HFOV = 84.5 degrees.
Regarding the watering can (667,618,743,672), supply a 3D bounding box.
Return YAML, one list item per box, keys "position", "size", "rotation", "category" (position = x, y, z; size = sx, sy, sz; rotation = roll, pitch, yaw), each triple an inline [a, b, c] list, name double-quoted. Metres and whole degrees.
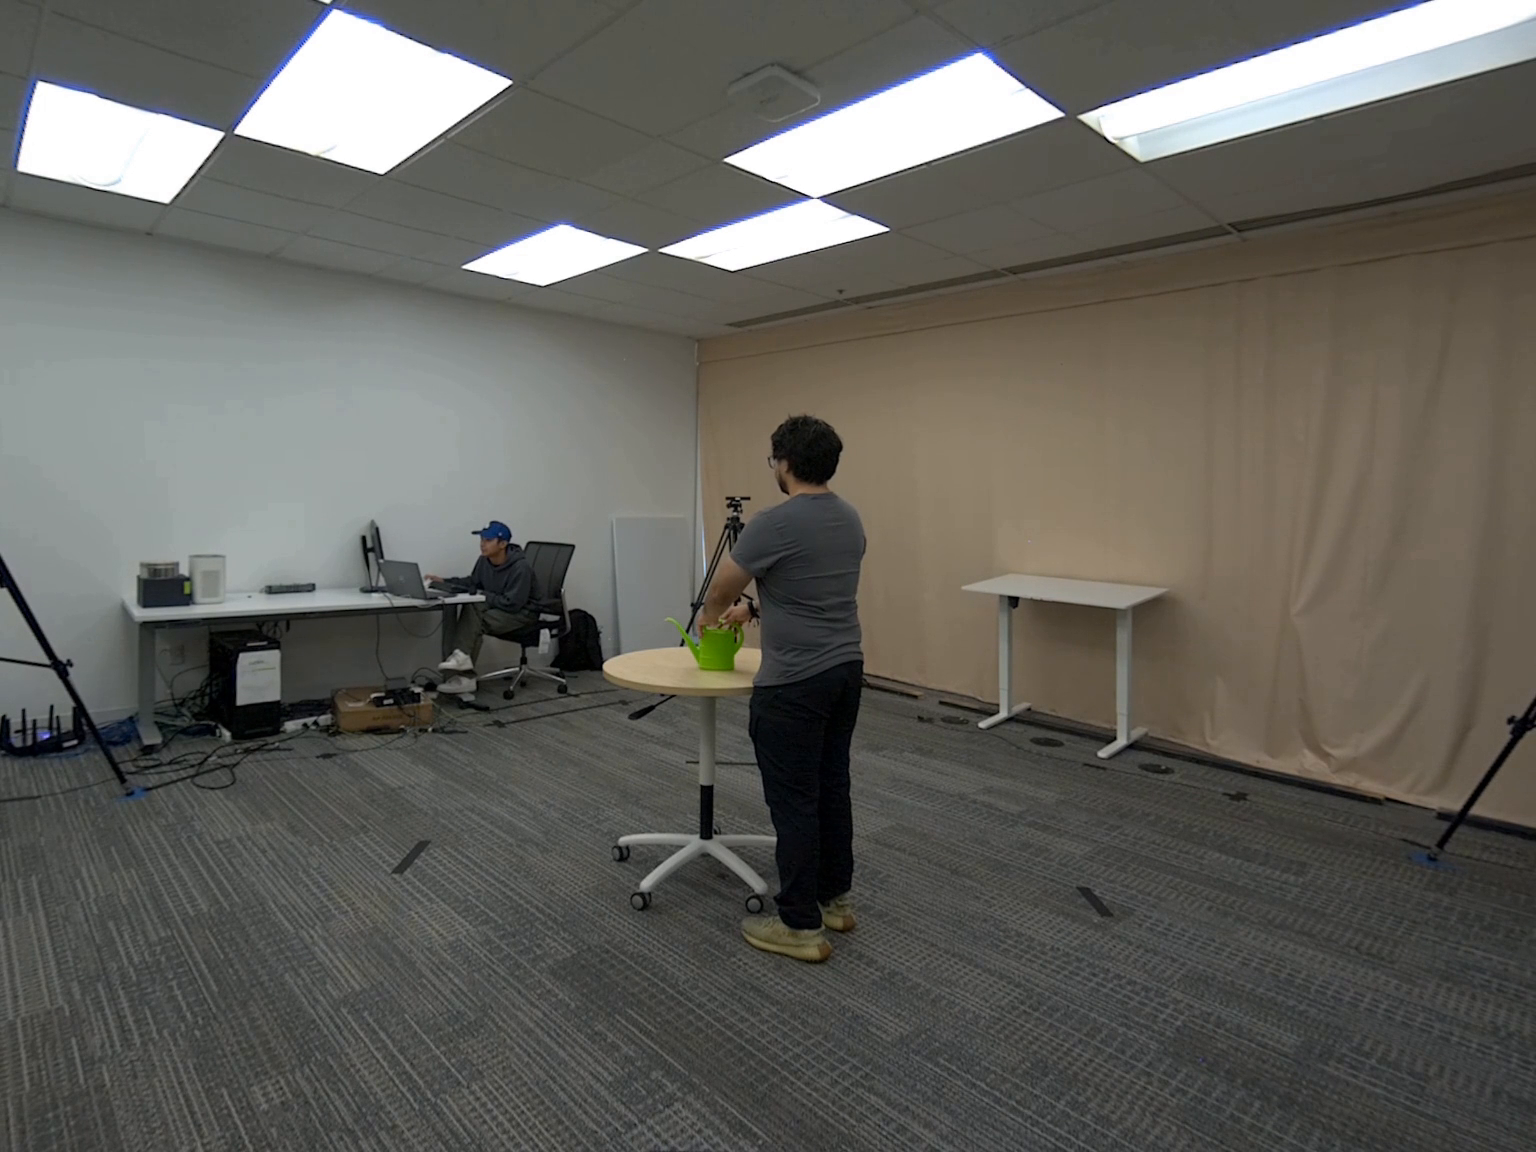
- position: [-0.230, 0.242, 3.021]
  size: [0.284, 0.176, 0.096]
  rotation: [8, 7, 25]
  category: "watering can"
